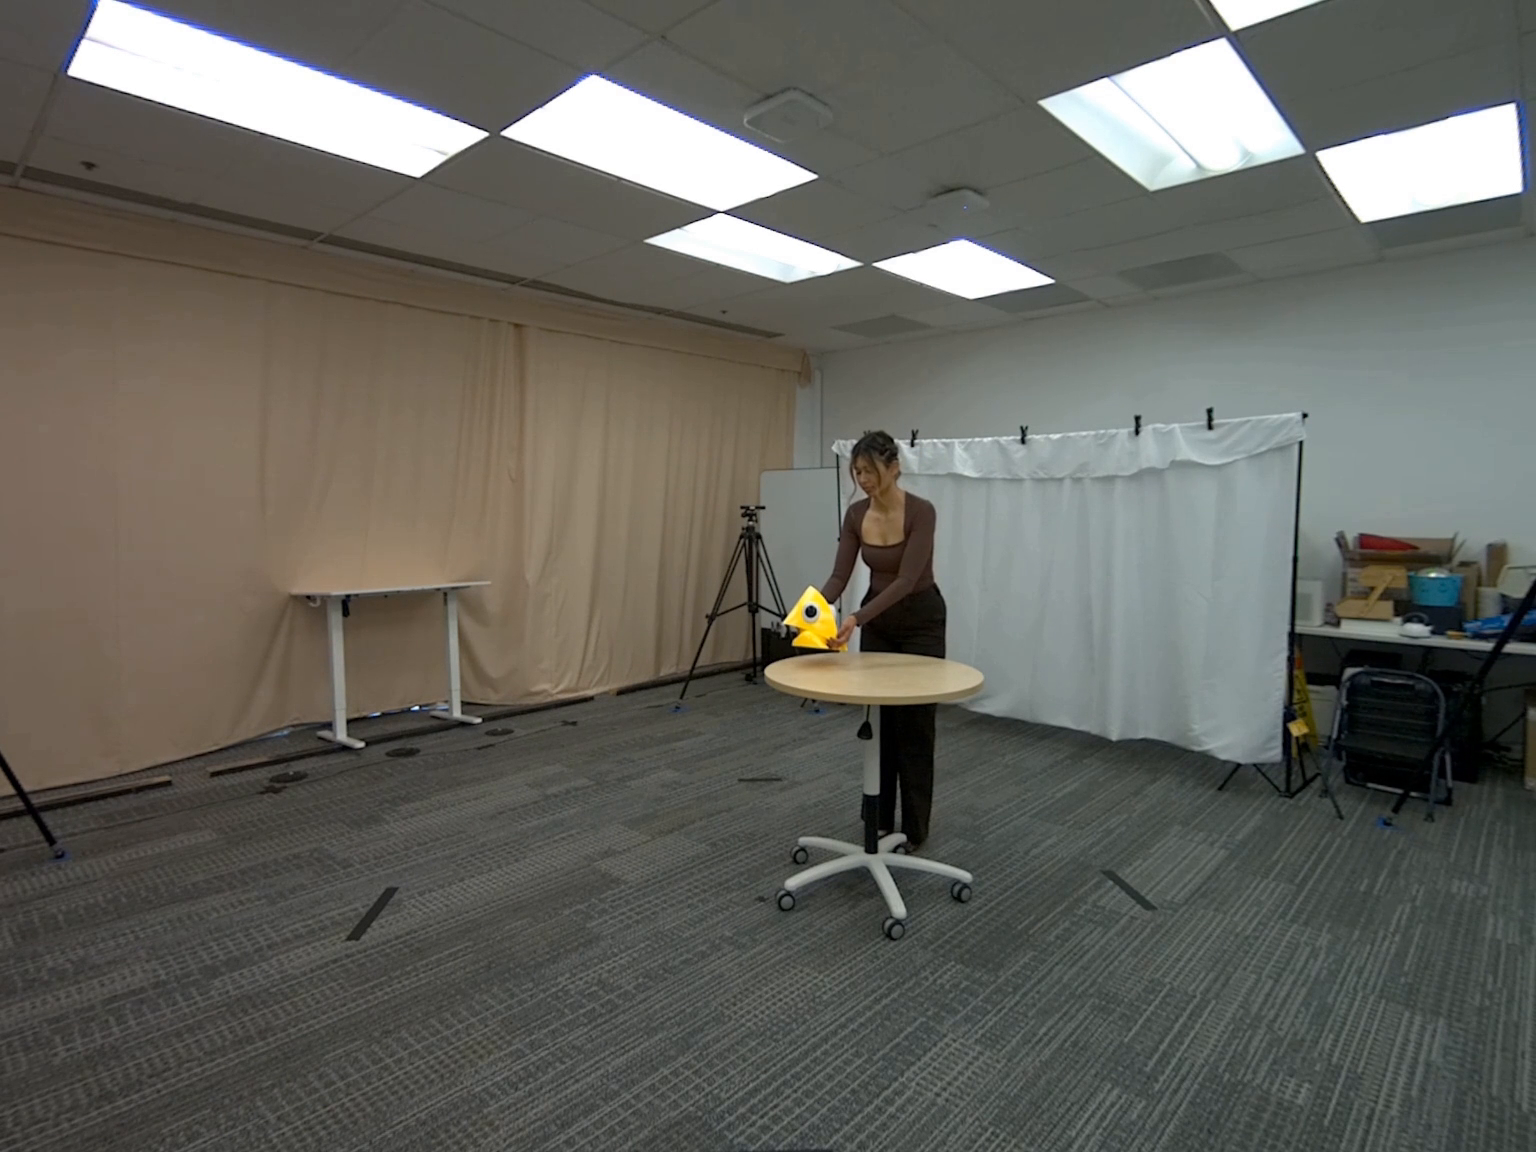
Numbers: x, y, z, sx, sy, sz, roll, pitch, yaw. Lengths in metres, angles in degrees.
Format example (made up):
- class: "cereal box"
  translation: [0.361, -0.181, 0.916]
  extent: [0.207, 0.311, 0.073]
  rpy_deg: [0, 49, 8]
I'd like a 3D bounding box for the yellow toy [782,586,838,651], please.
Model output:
- class: "yellow toy"
  translation: [0.191, 0.153, 3.141]
  extent: [0.198, 0.231, 0.199]
  rpy_deg: [10, -7, -41]
